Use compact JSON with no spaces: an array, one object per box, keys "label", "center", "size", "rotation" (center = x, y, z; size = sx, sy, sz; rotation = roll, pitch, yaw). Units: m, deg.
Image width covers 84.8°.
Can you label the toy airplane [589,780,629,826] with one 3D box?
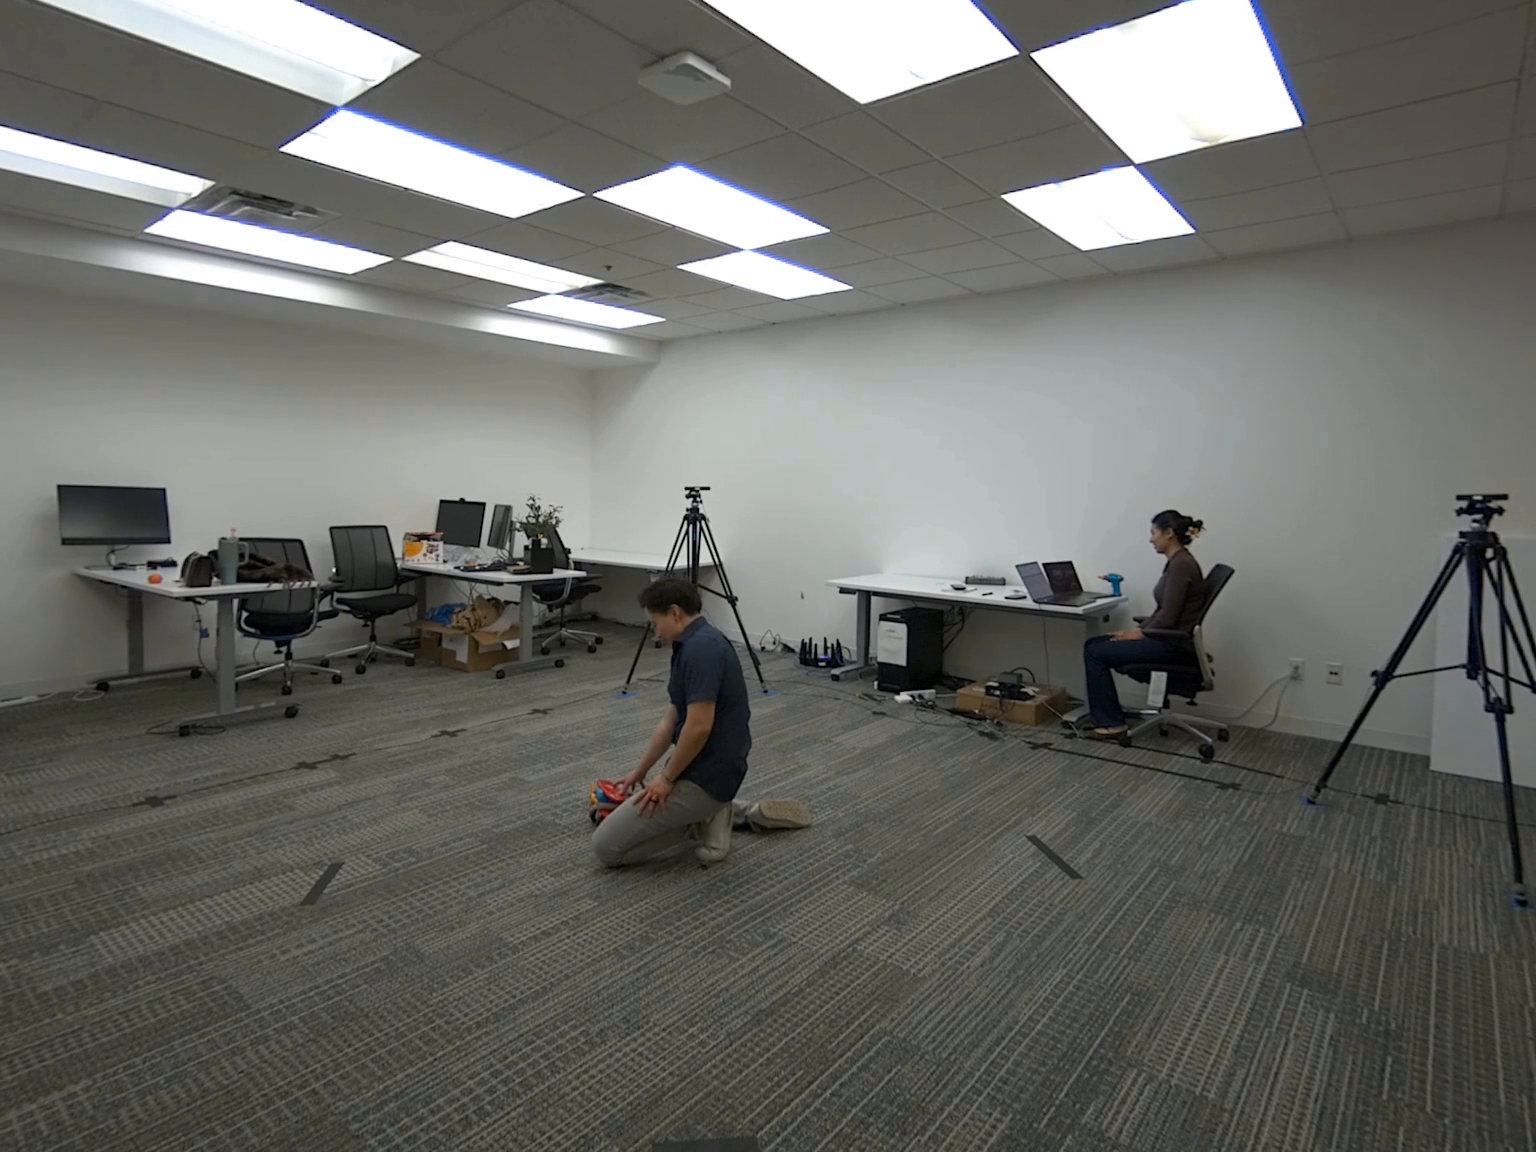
[{"label":"toy airplane","center":[-0.645,0.940,3.543],"size":[0.259,0.155,0.253],"rotation":[4,10,35]}]
